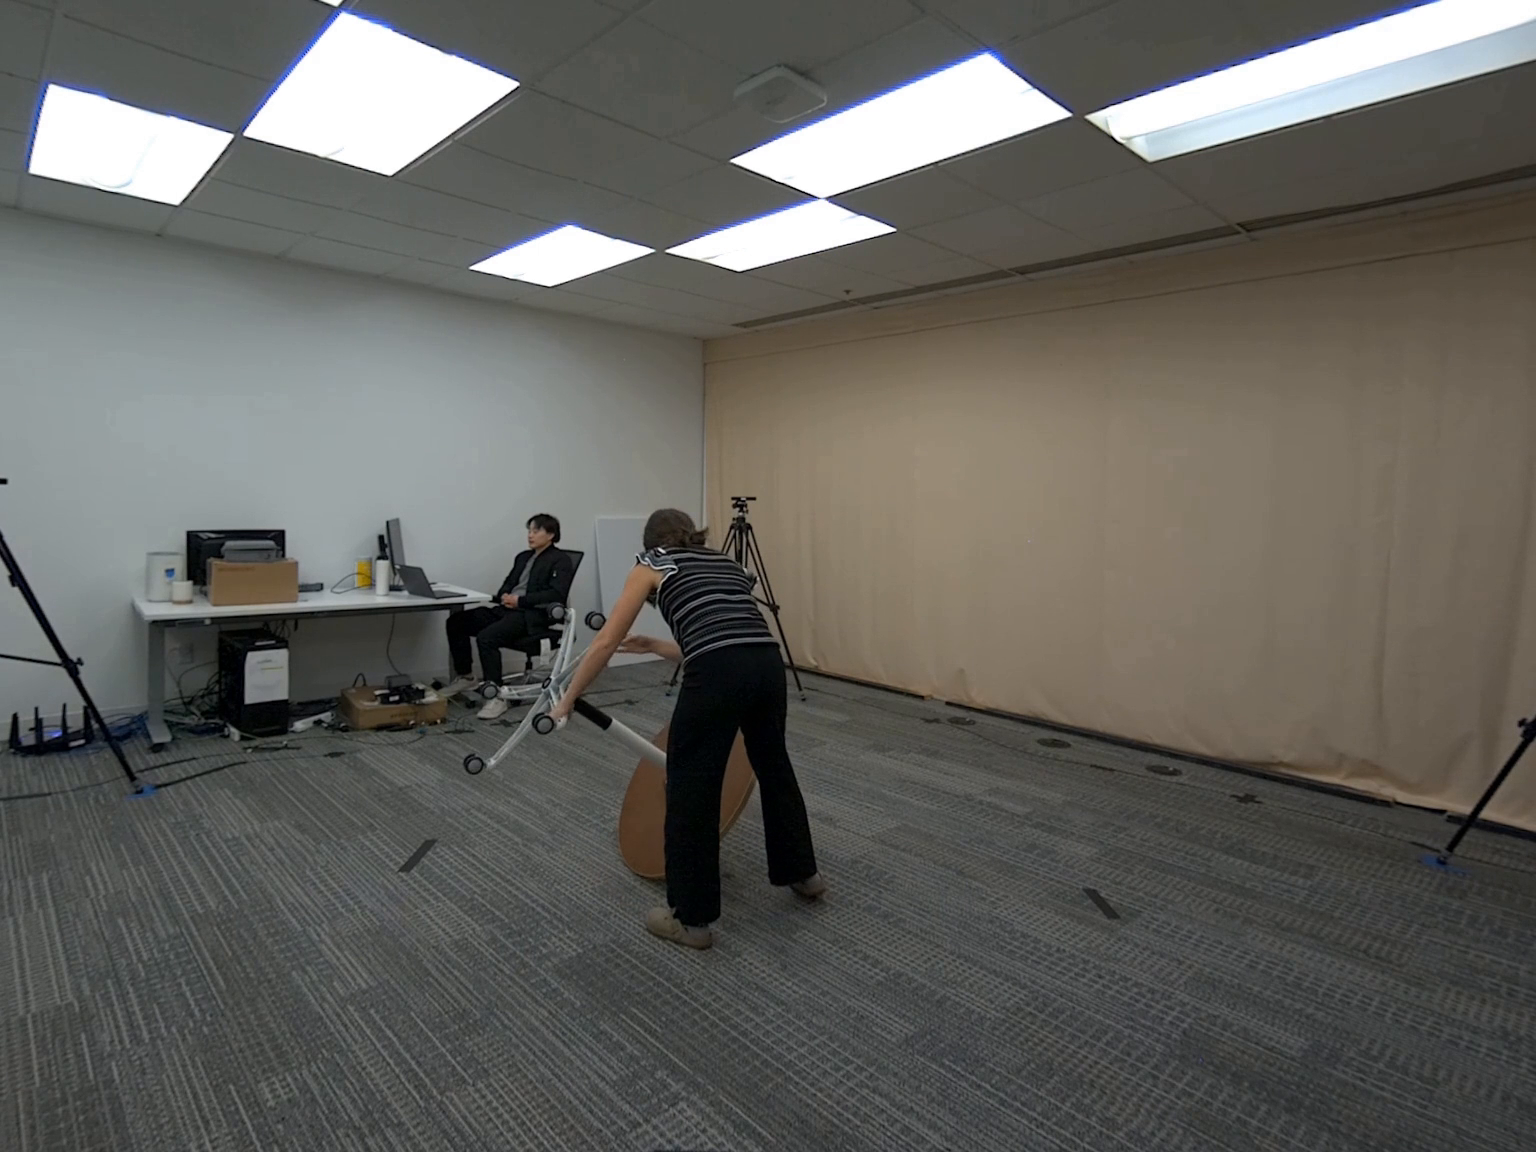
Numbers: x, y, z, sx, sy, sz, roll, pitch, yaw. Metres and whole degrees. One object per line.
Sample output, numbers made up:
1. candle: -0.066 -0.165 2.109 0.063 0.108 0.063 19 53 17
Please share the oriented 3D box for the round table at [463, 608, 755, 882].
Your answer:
1. round table: -0.566 0.562 3.067 0.774 0.766 0.781 40 -16 -27
